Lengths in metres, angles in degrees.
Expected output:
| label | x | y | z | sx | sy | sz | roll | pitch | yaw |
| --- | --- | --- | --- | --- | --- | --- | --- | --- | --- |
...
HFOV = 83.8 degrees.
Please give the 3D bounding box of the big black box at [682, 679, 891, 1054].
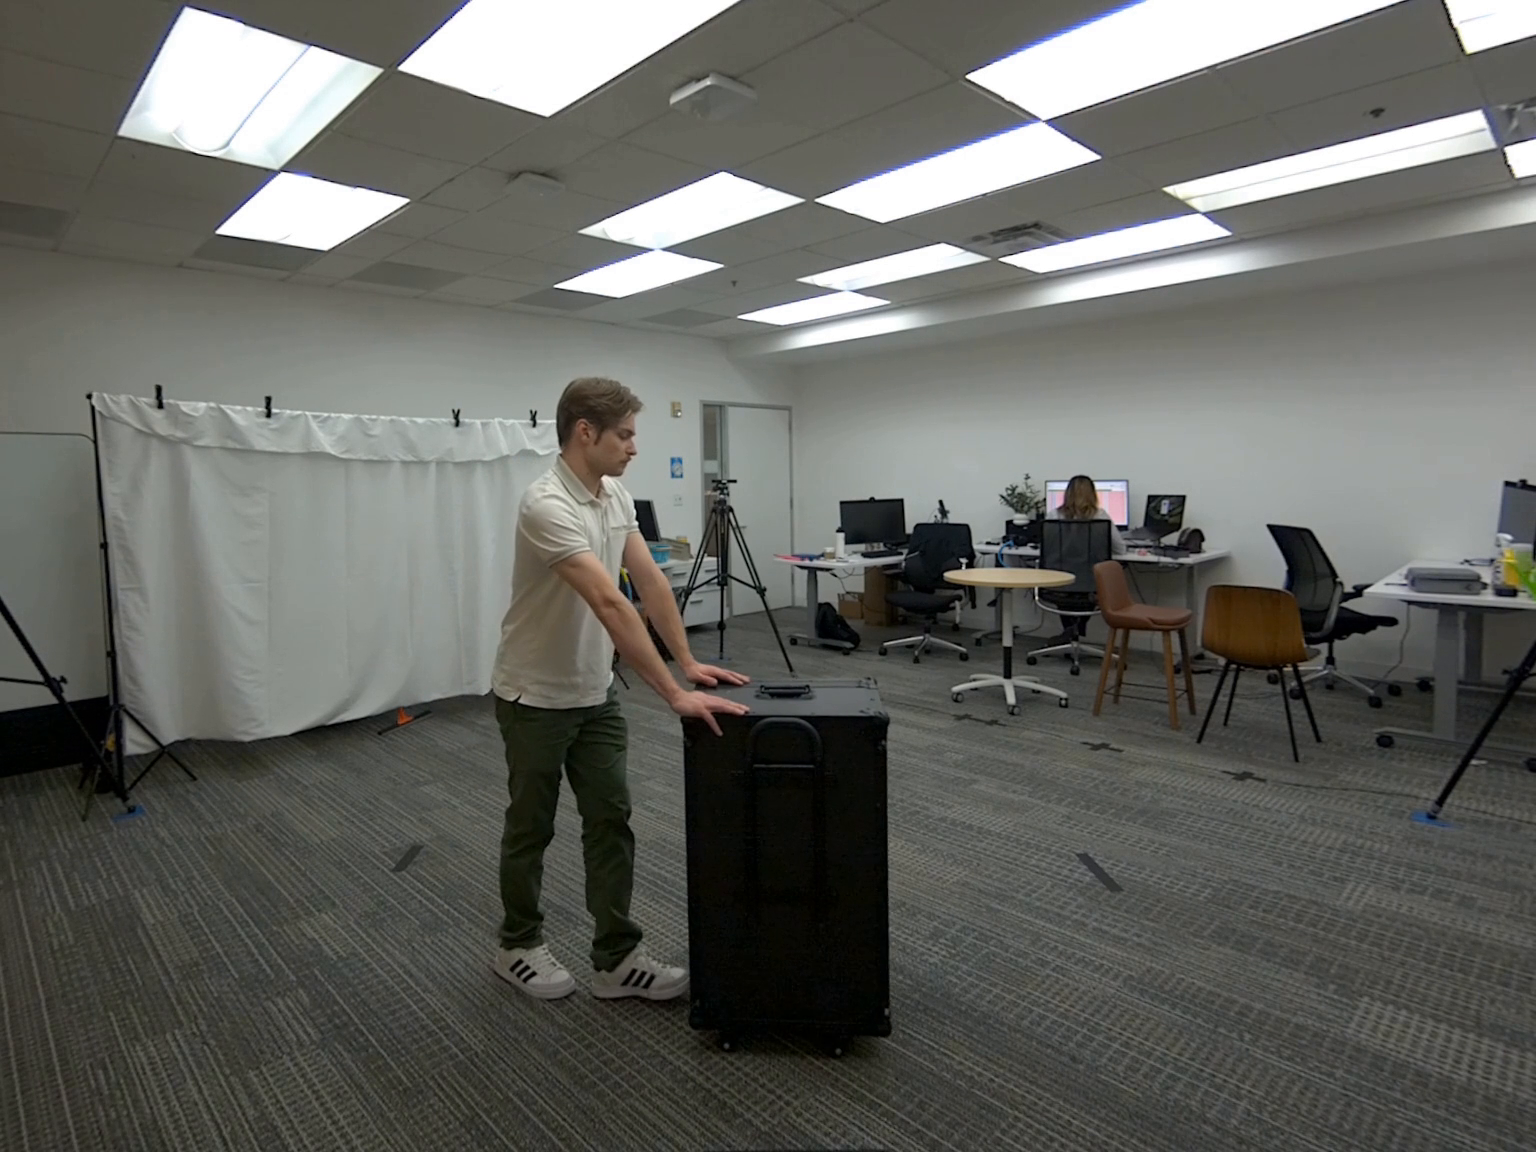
| label | x | y | z | sx | sy | sz | roll | pitch | yaw |
| --- | --- | --- | --- | --- | --- | --- | --- | --- | --- |
| big black box | 0.059 | 0.730 | 2.199 | 0.525 | 0.866 | 0.385 | -2 | 4 | 3 |
